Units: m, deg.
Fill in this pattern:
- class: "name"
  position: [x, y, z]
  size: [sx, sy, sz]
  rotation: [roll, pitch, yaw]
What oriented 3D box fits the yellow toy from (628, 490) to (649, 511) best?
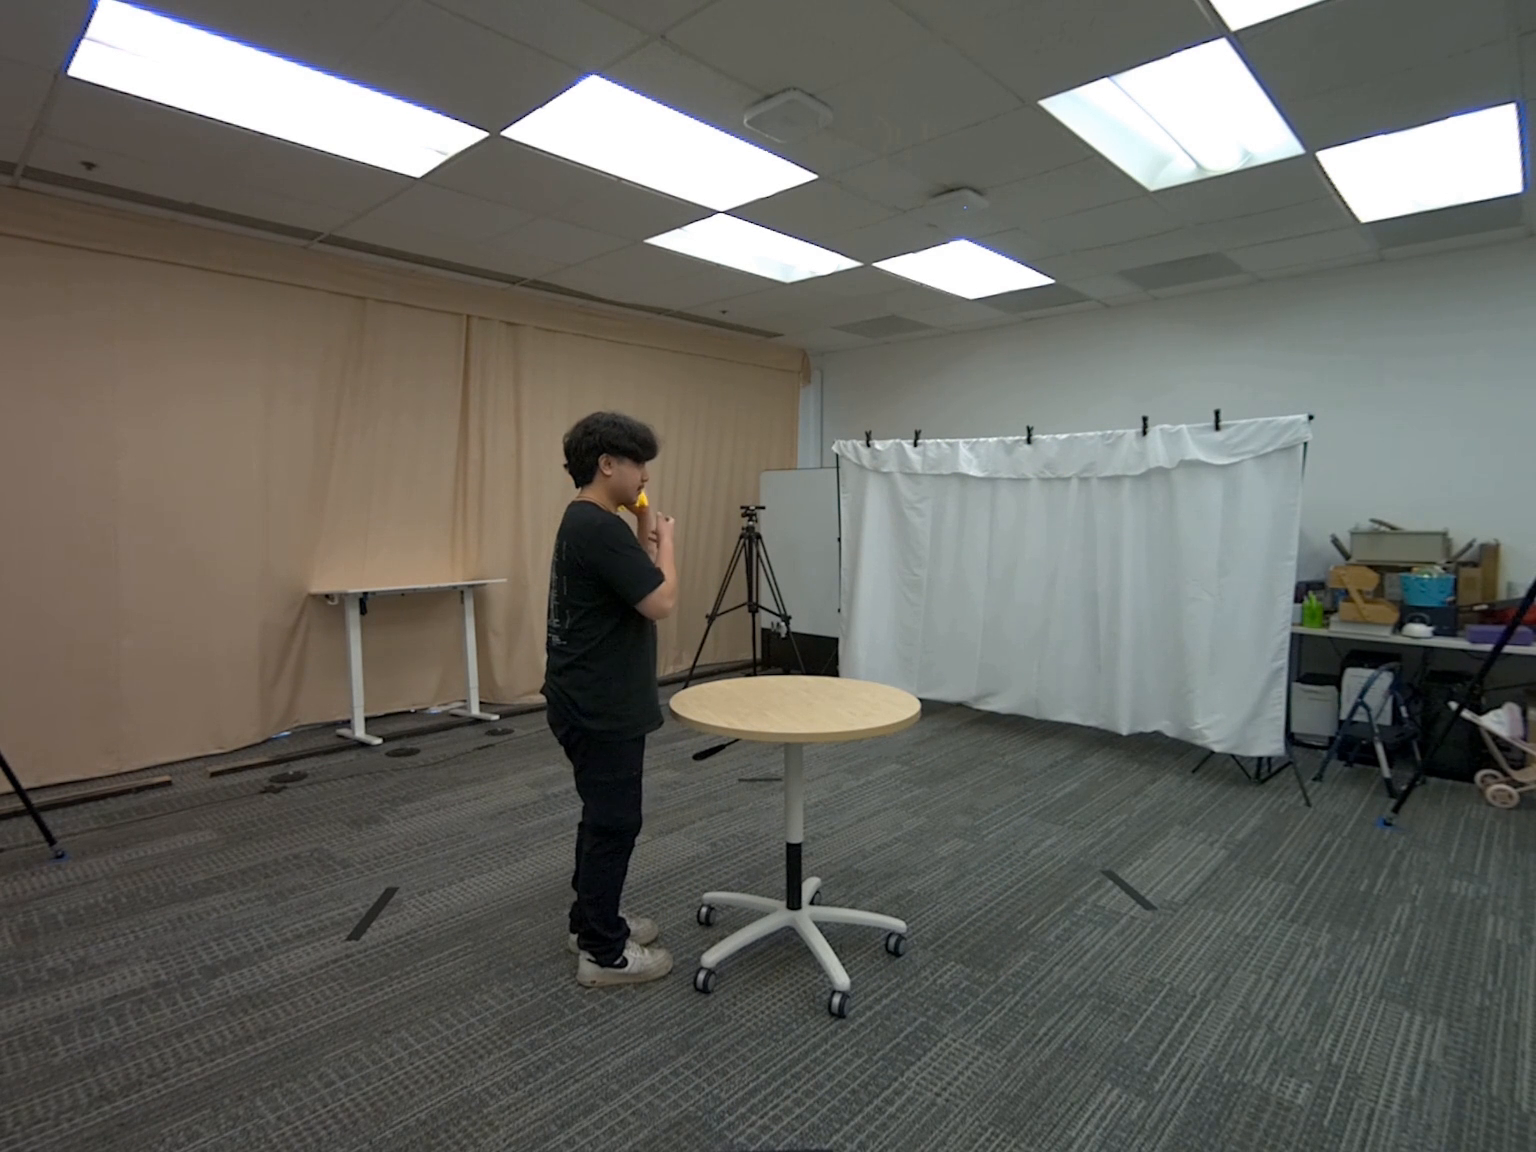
- class: "yellow toy"
  position: [-0.489, -0.342, 2.650]
  size: [0.199, 0.229, 0.200]
  rotation: [15, 19, 30]
